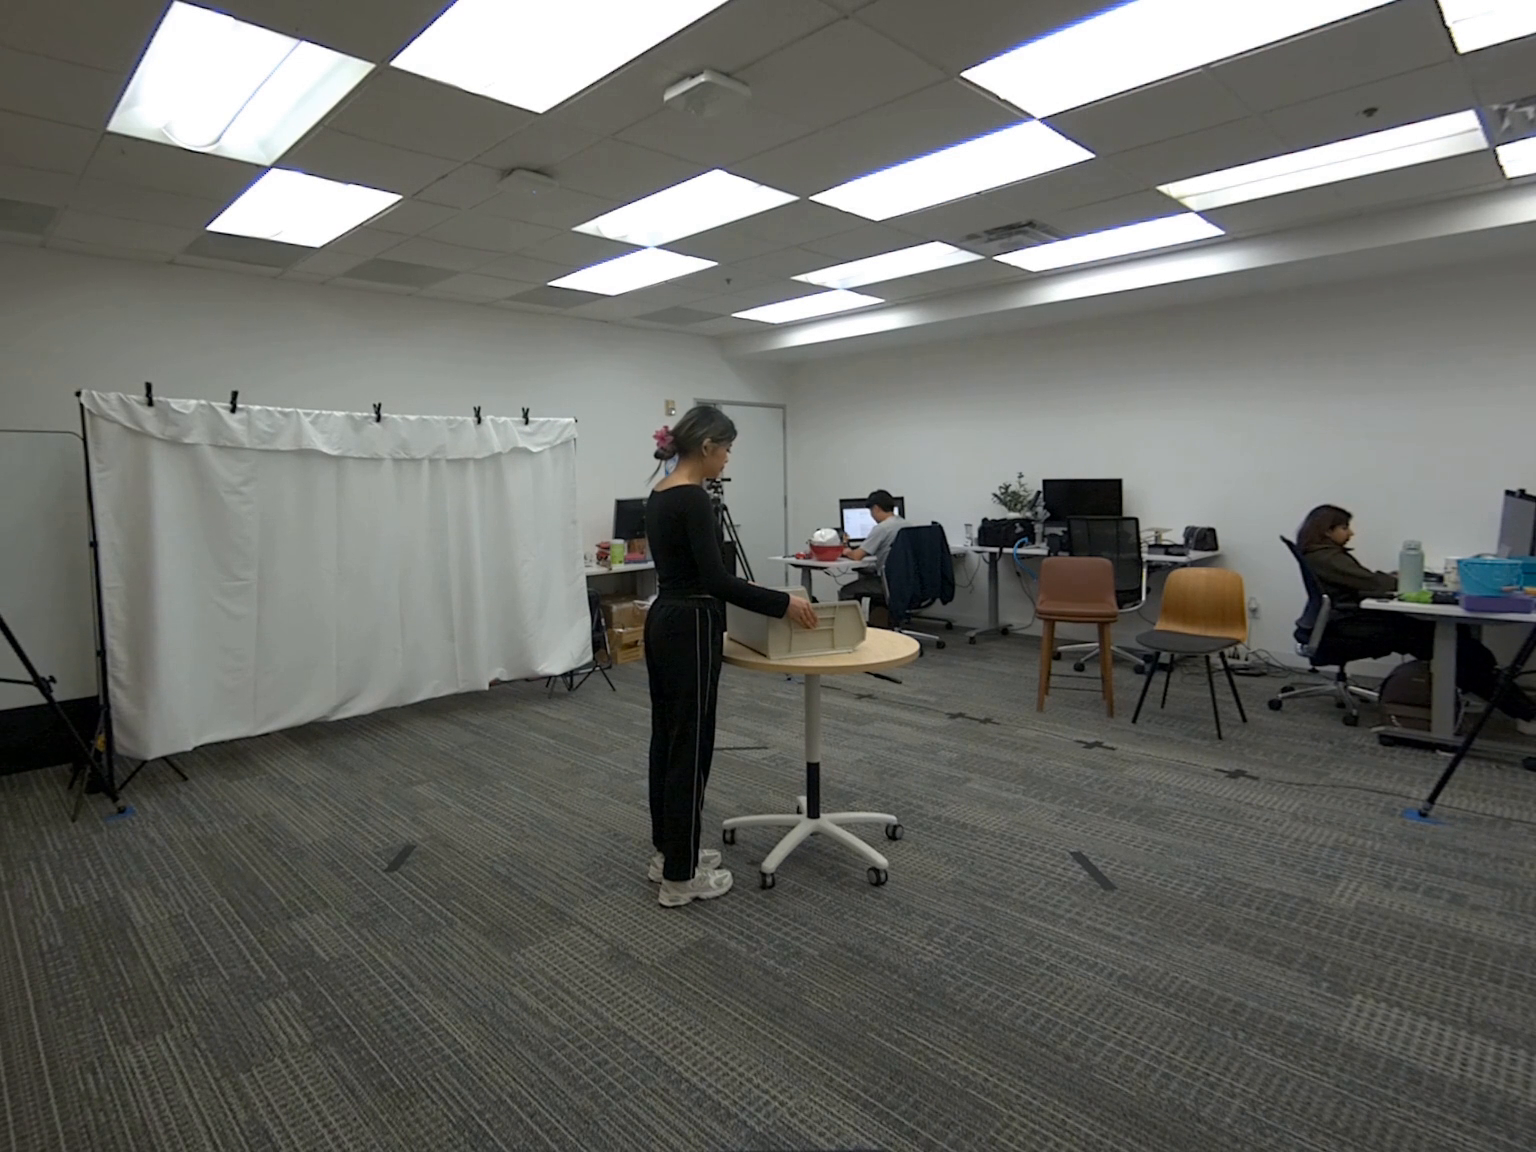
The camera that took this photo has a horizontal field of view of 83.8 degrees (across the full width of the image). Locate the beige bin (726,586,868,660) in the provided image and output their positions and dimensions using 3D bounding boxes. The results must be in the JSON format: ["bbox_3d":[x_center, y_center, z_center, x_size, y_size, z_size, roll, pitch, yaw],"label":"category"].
[{"bbox_3d":[0.091,0.158,3.078,0.370,0.188,0.433,-4,8,-22],"label":"beige bin"}]
